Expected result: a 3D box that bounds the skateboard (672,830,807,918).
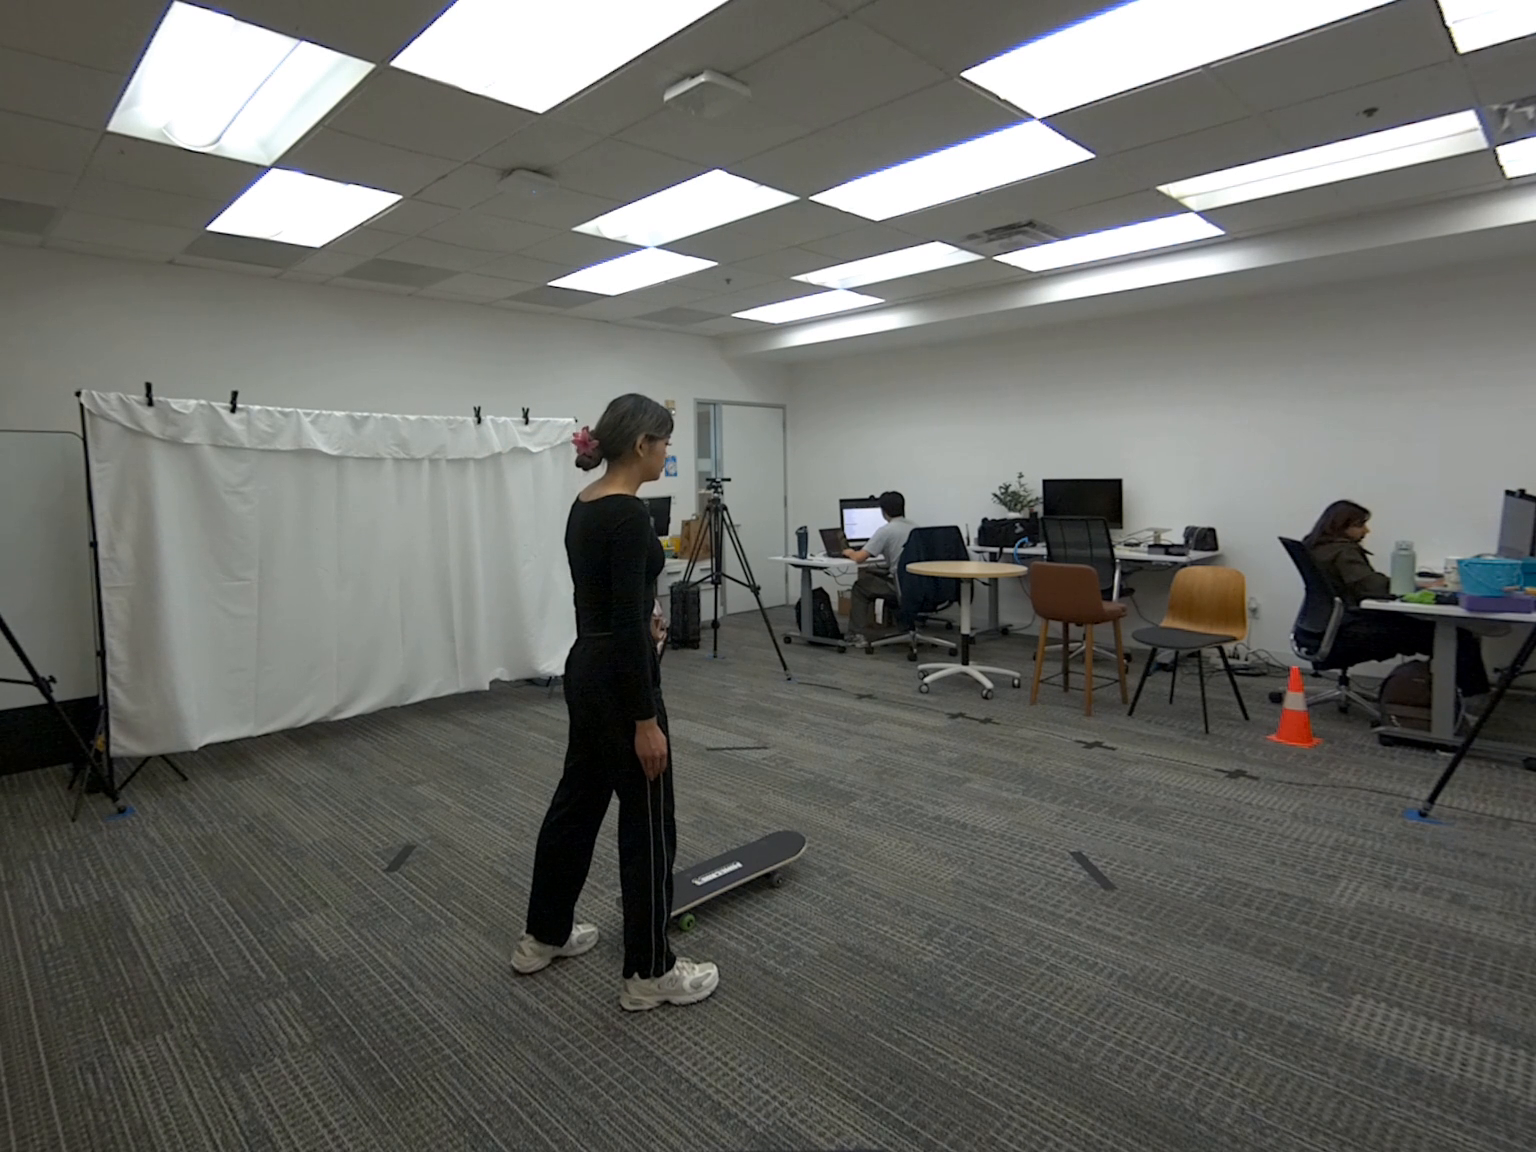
[{"bbox_3d":[-0.165,1.021,2.841,0.765,0.110,0.199,-8,9,-43],"label":"skateboard"}]
